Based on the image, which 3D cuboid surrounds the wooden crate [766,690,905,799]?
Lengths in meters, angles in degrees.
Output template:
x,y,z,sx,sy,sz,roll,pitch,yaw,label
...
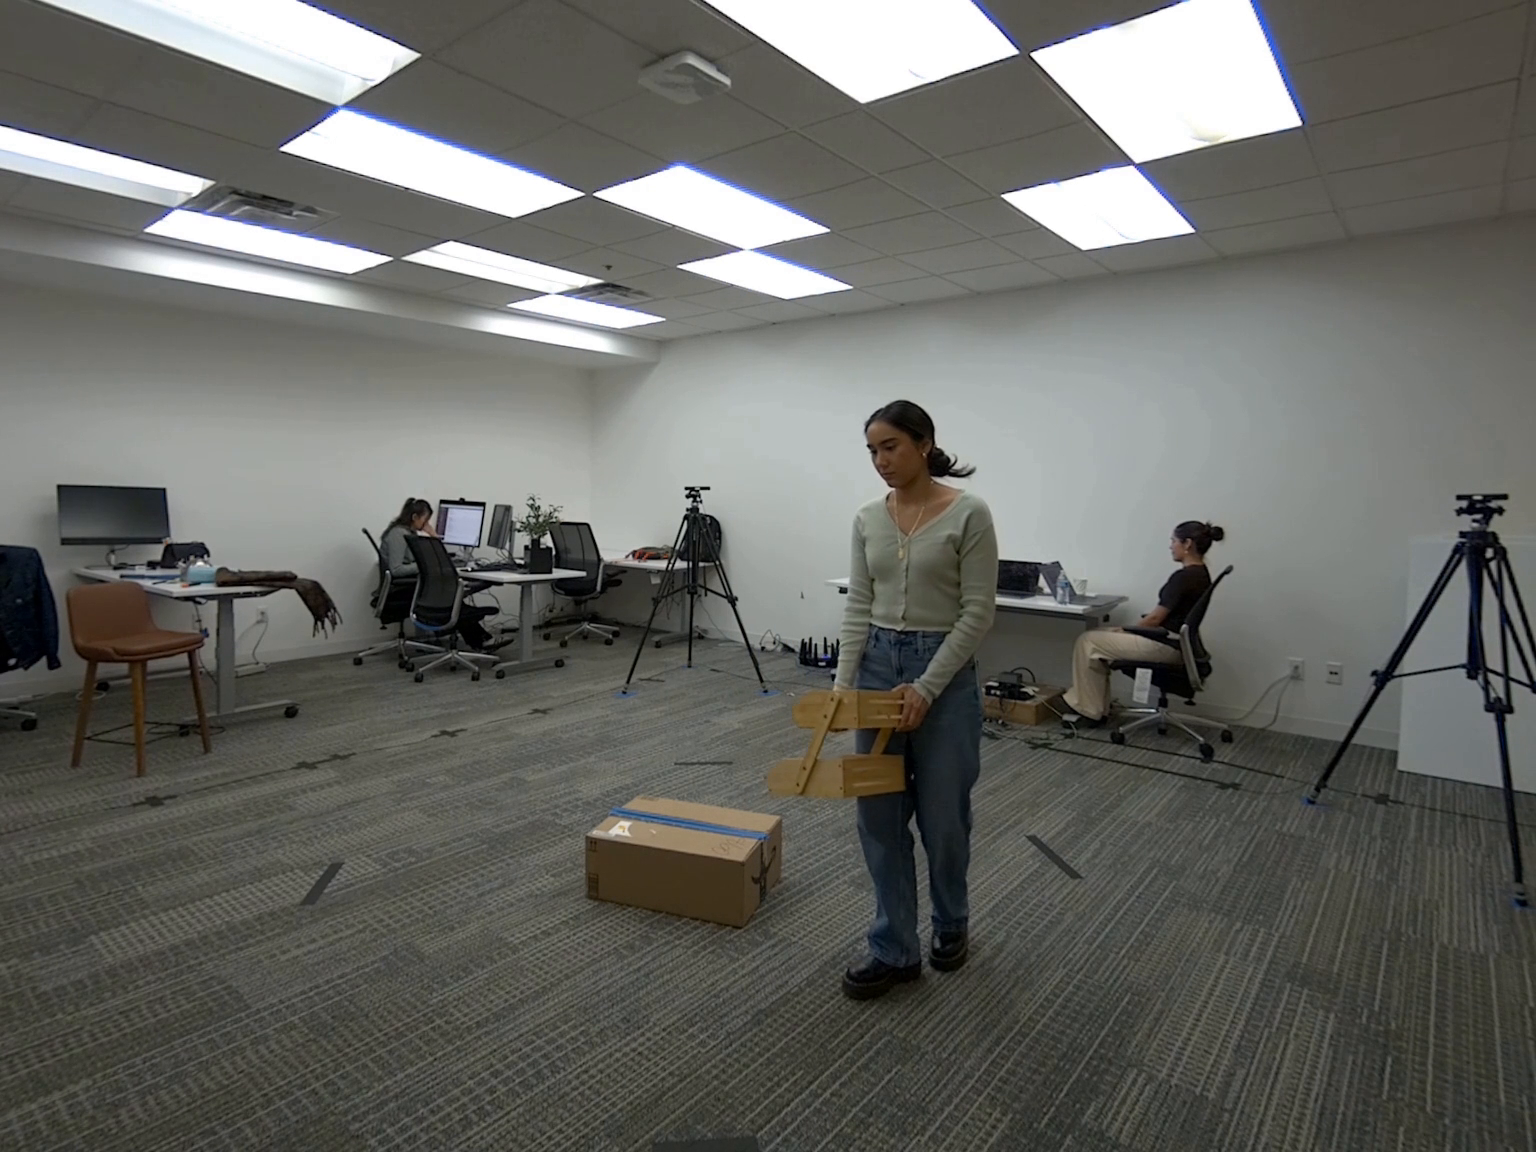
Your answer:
x,y,z,sx,sy,sz,roll,pitch,yaw,label
0.189,0.437,2.283,0.310,0.276,0.312,-10,-14,40,wooden crate
